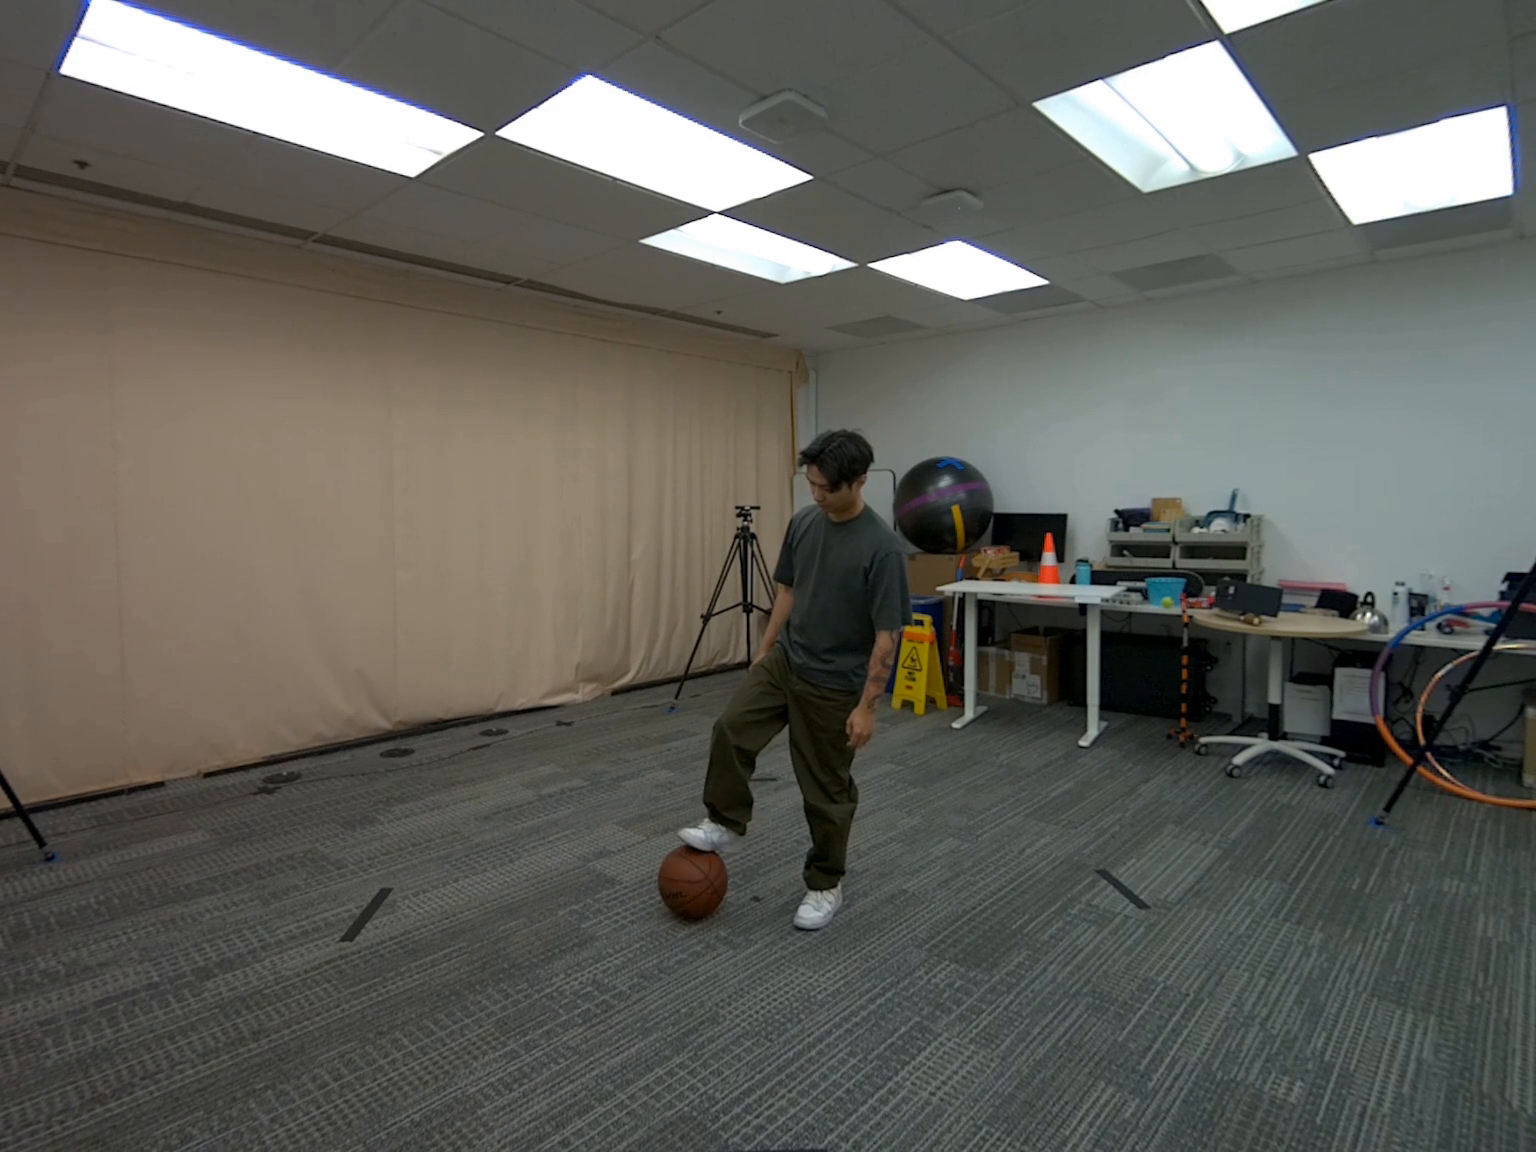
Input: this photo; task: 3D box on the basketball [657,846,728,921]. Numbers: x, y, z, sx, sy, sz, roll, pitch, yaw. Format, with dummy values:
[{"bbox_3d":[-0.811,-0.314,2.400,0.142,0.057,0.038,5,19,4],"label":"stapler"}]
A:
[{"bbox_3d":[-0.256,1.039,2.870,0.236,0.235,0.237,0,4,-2],"label":"basketball"}]
